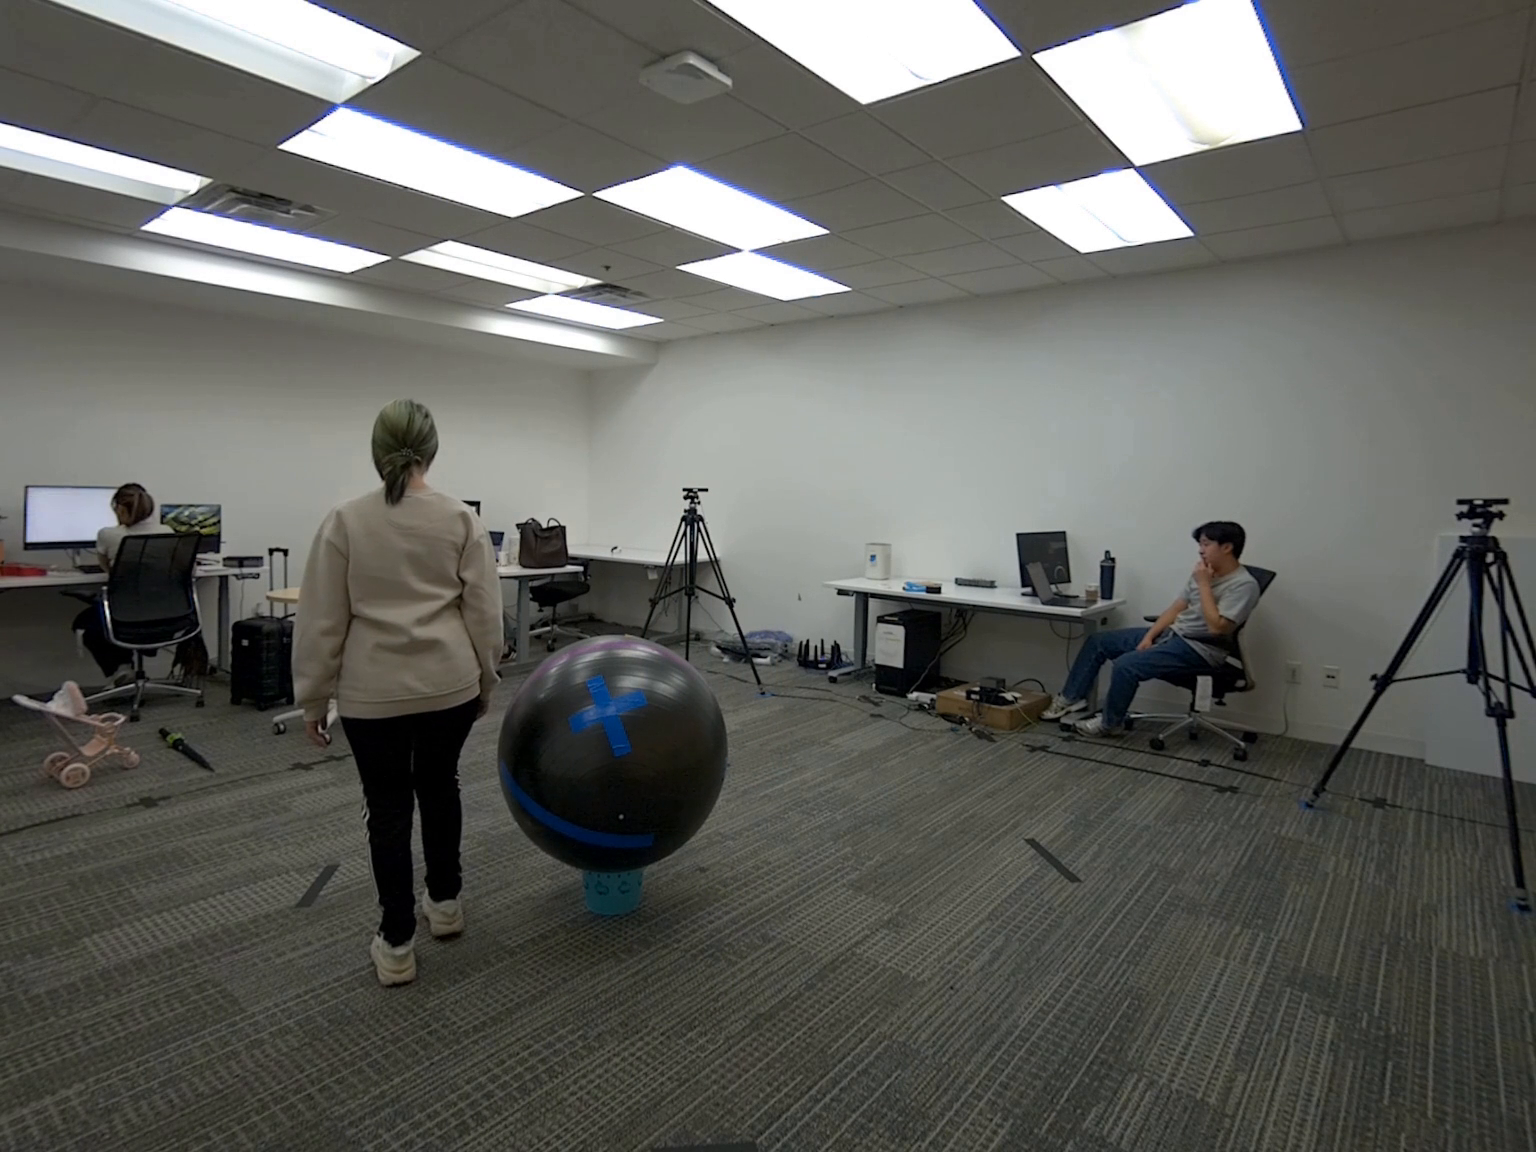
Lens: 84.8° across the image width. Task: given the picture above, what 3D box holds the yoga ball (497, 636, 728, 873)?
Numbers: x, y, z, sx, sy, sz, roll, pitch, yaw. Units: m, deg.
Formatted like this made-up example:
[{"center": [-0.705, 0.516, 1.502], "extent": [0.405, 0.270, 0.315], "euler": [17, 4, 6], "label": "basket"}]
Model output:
[{"center": [-0.521, 0.582, 2.829], "extent": [0.757, 0.755, 0.762], "euler": [1, 4, -2], "label": "yoga ball"}]
